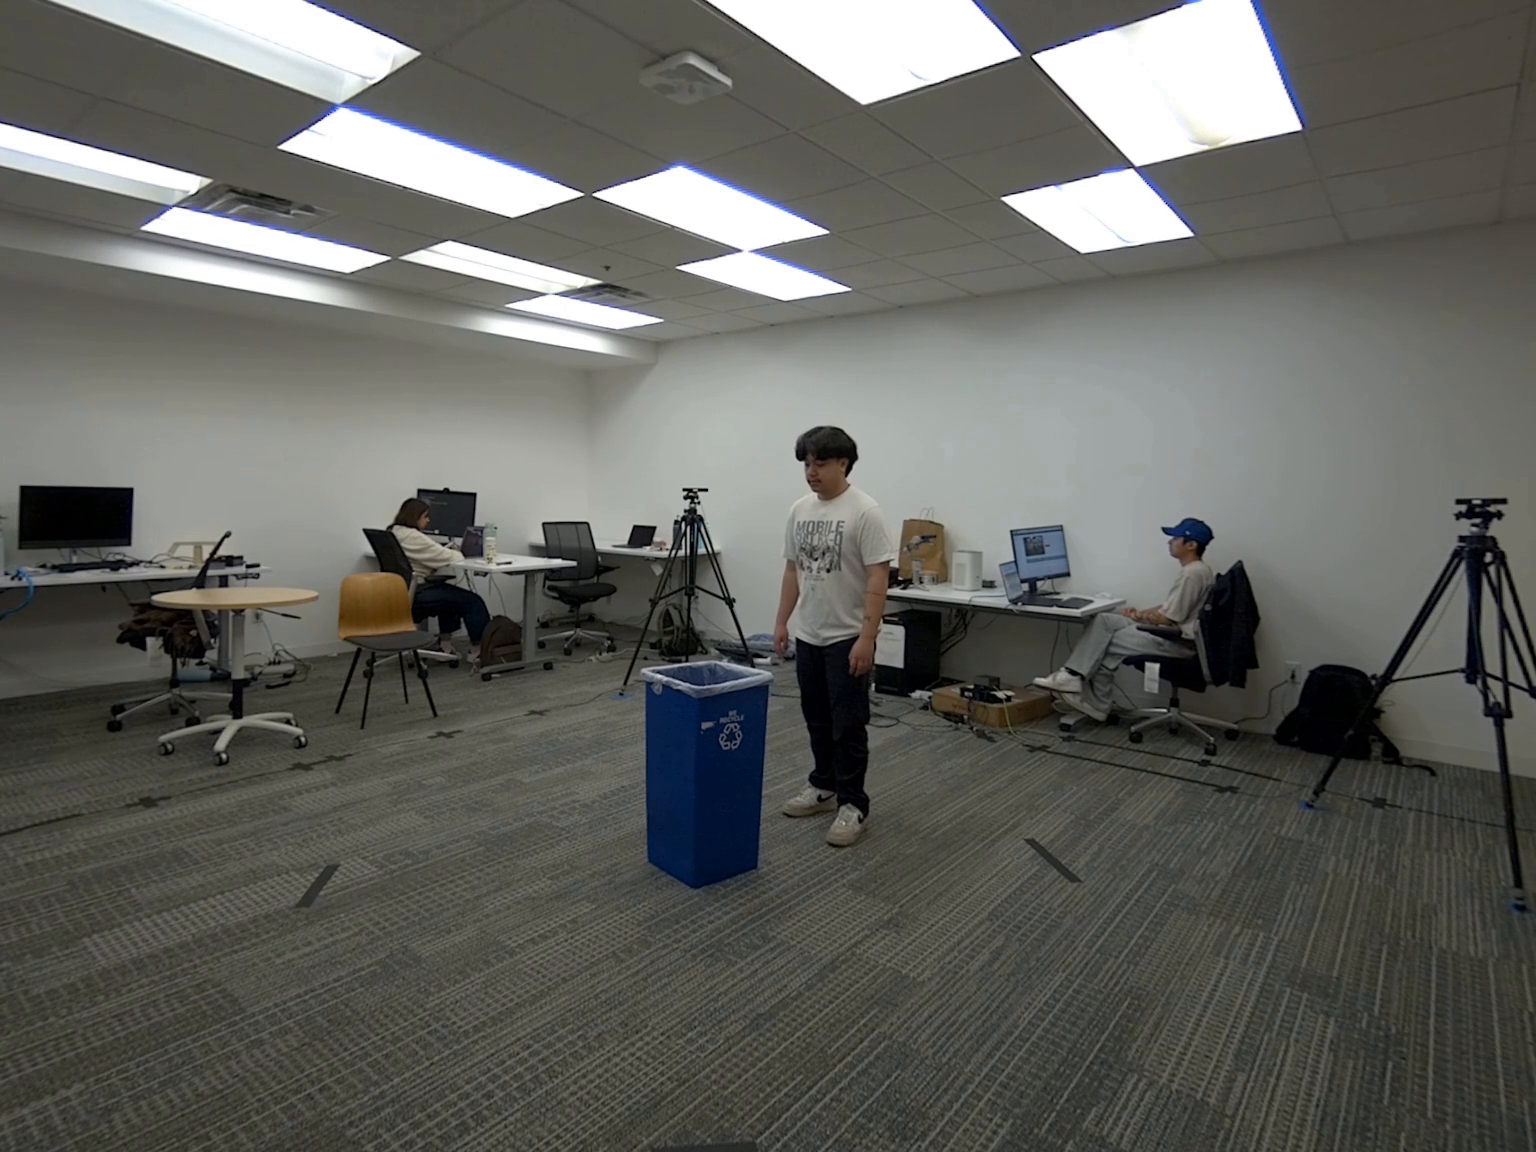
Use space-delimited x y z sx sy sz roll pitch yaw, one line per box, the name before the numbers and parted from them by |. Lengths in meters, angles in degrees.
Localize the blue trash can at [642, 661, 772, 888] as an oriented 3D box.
blue trash can | -0.241 0.706 3.144 0.363 0.711 0.391 -2 4 -41
